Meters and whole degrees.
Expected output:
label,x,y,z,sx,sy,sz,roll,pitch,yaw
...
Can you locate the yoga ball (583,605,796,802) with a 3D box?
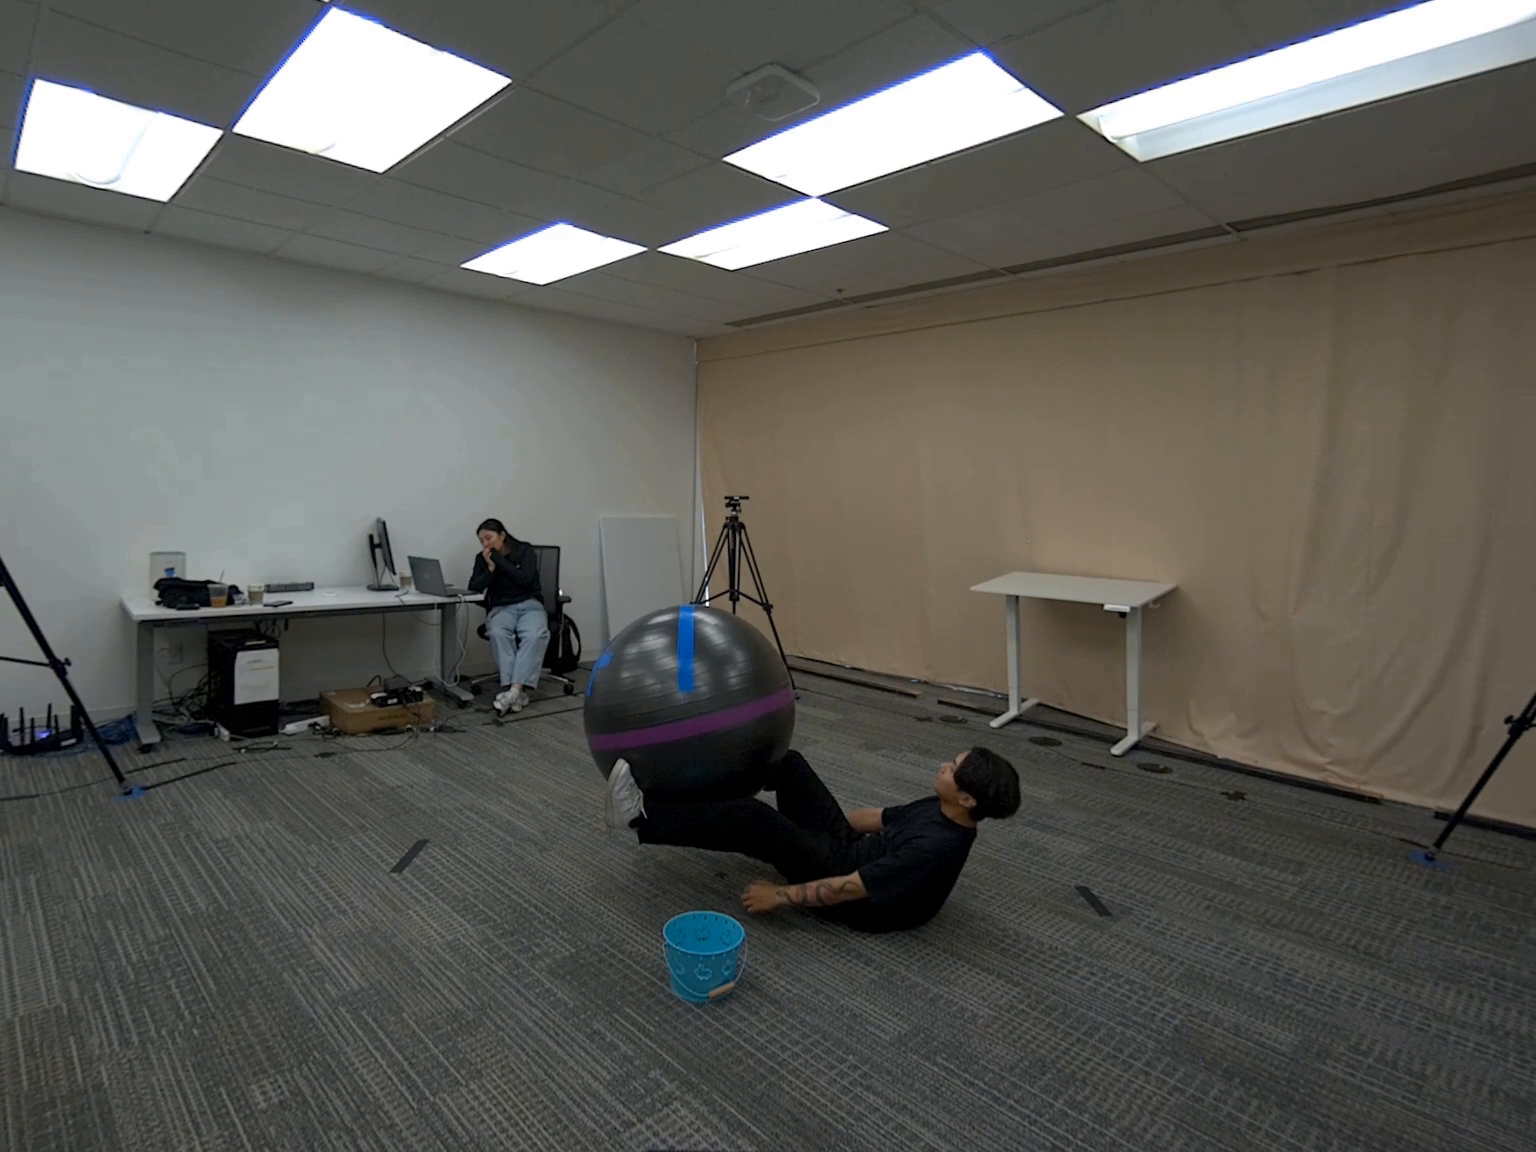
label,x,y,z,sx,sy,sz,roll,pitch,yaw
yoga ball,-0.287,0.492,3.053,0.757,0.756,0.761,1,4,-1
